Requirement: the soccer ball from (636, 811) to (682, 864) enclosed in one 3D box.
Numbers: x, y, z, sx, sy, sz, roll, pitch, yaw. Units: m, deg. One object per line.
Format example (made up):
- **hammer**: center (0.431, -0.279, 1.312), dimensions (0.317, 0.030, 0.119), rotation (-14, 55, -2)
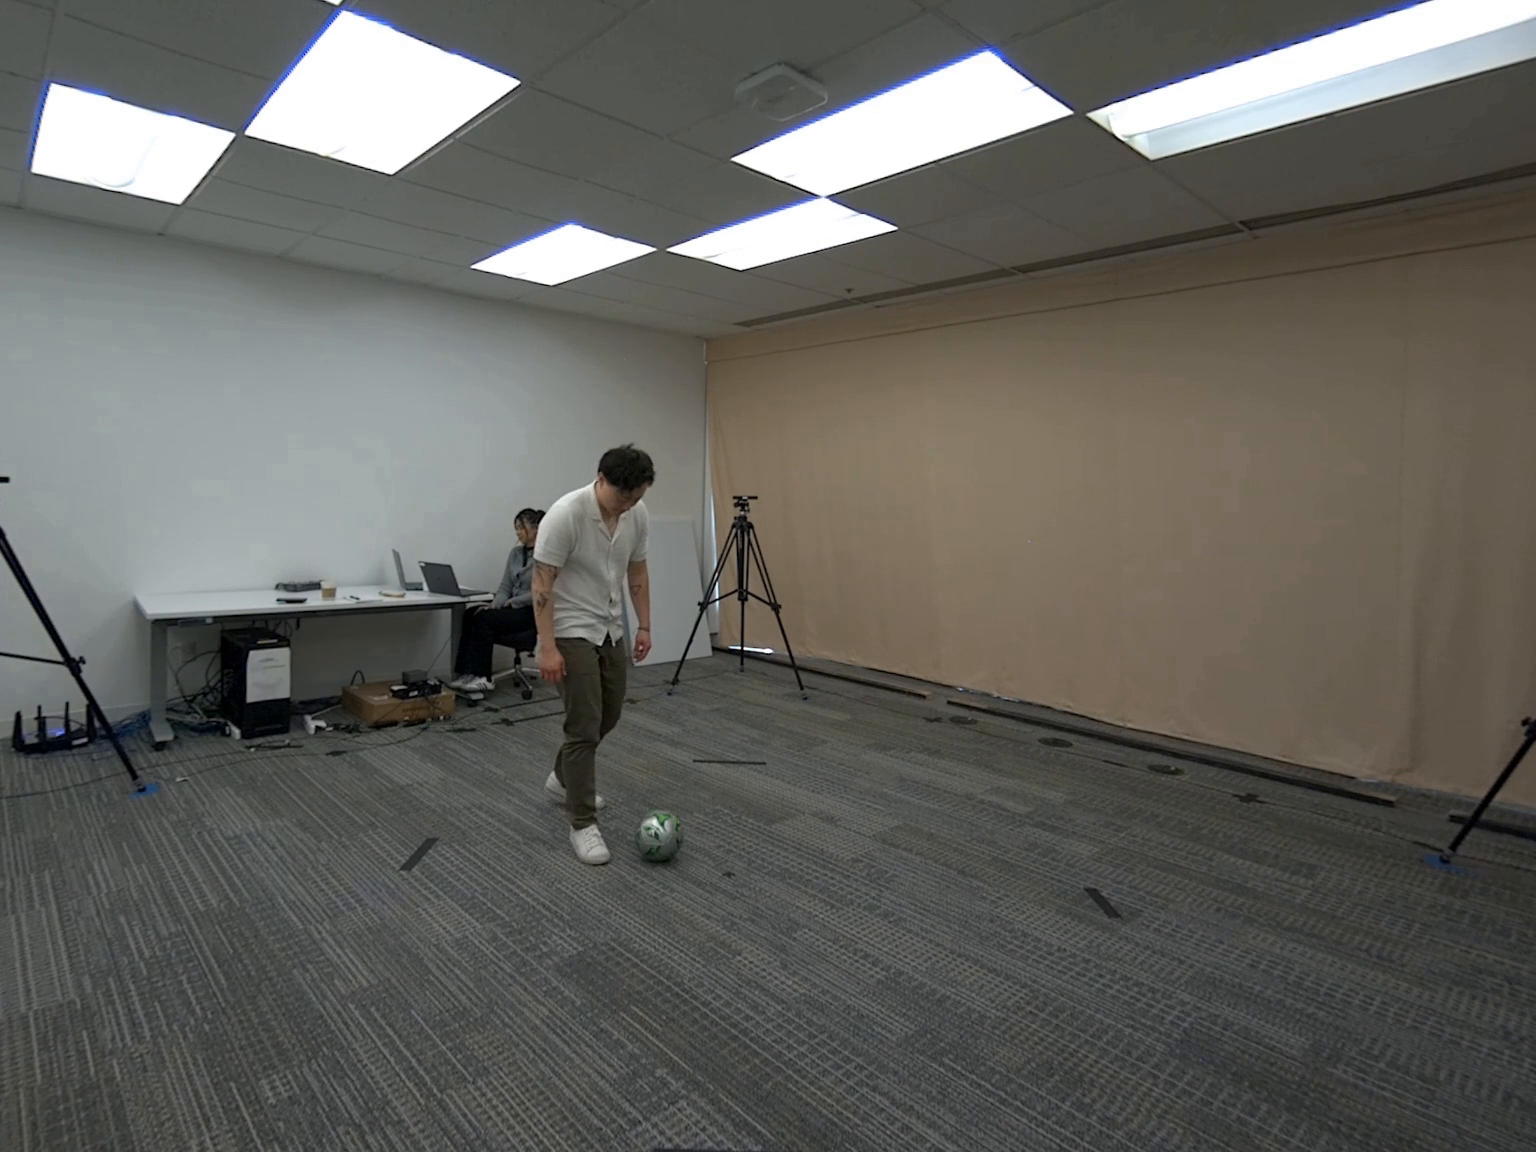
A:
- **soccer ball**: center (-0.426, 0.994, 3.215), dimensions (0.187, 0.187, 0.188), rotation (1, 4, -1)
